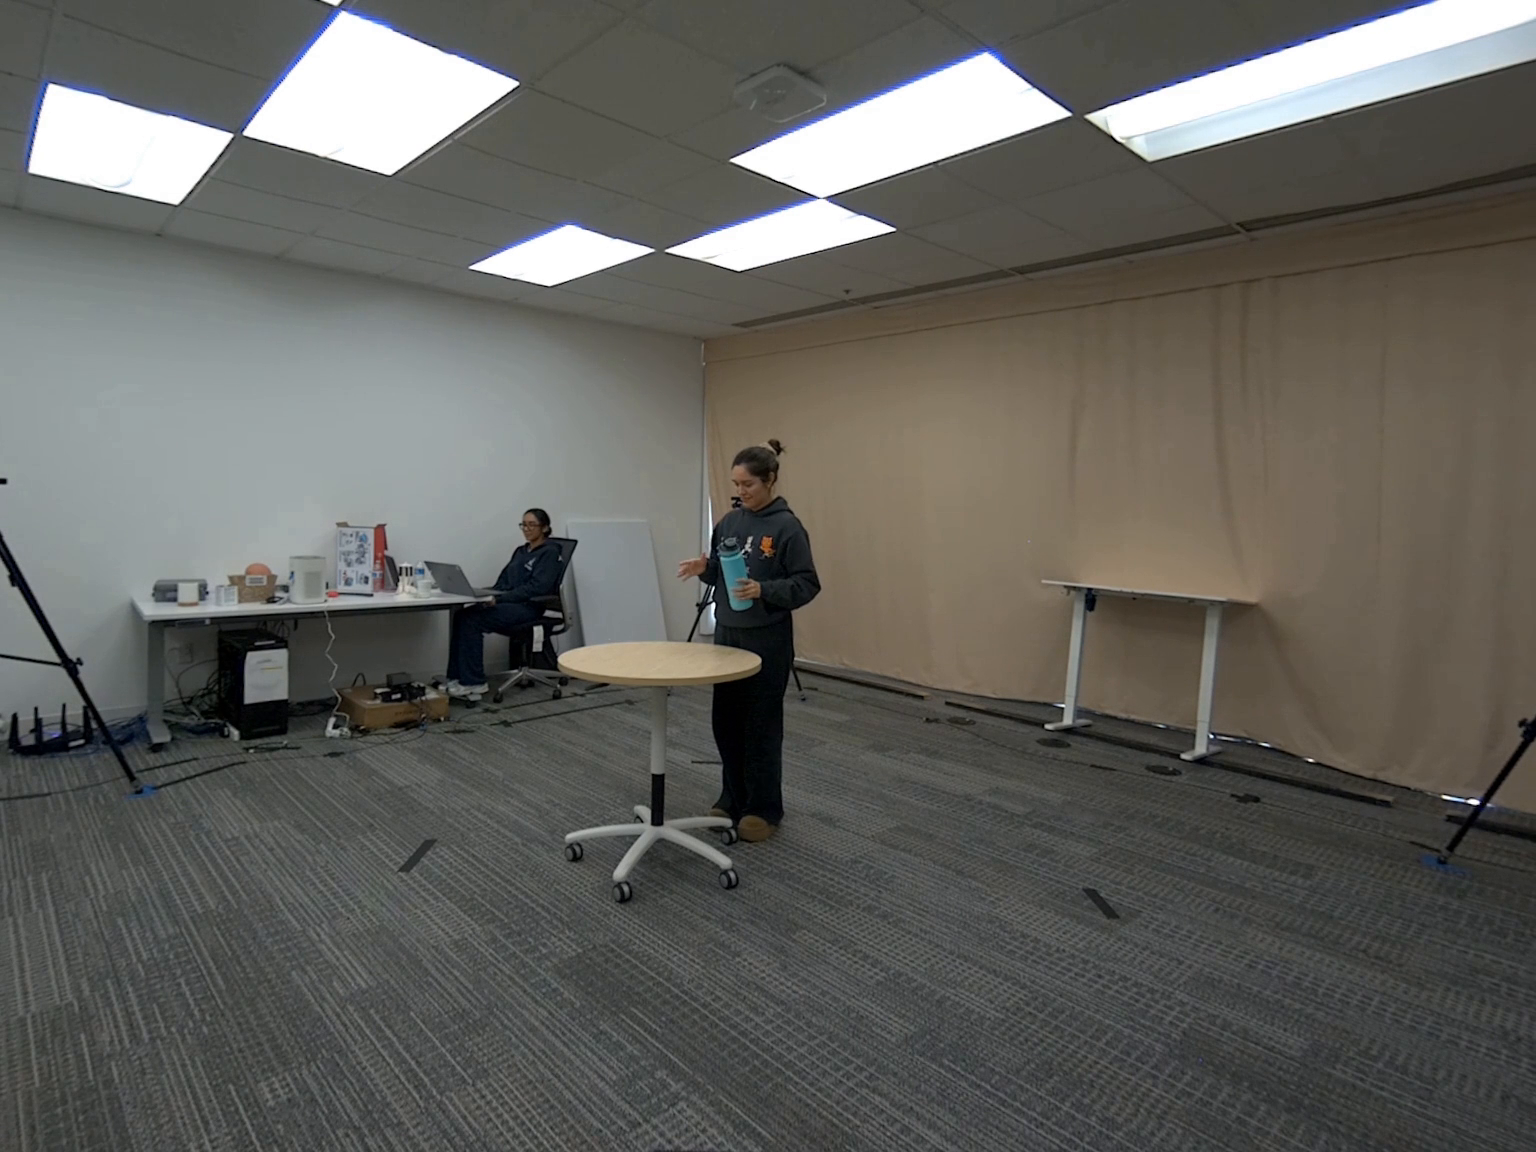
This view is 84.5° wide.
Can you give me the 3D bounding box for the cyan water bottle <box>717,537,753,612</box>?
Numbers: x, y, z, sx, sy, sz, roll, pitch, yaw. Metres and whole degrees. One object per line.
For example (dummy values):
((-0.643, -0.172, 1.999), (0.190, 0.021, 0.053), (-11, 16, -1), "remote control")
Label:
((-0.150, -0.025, 3.295), (0.092, 0.279, 0.094), (-10, 20, 2), "cyan water bottle")
